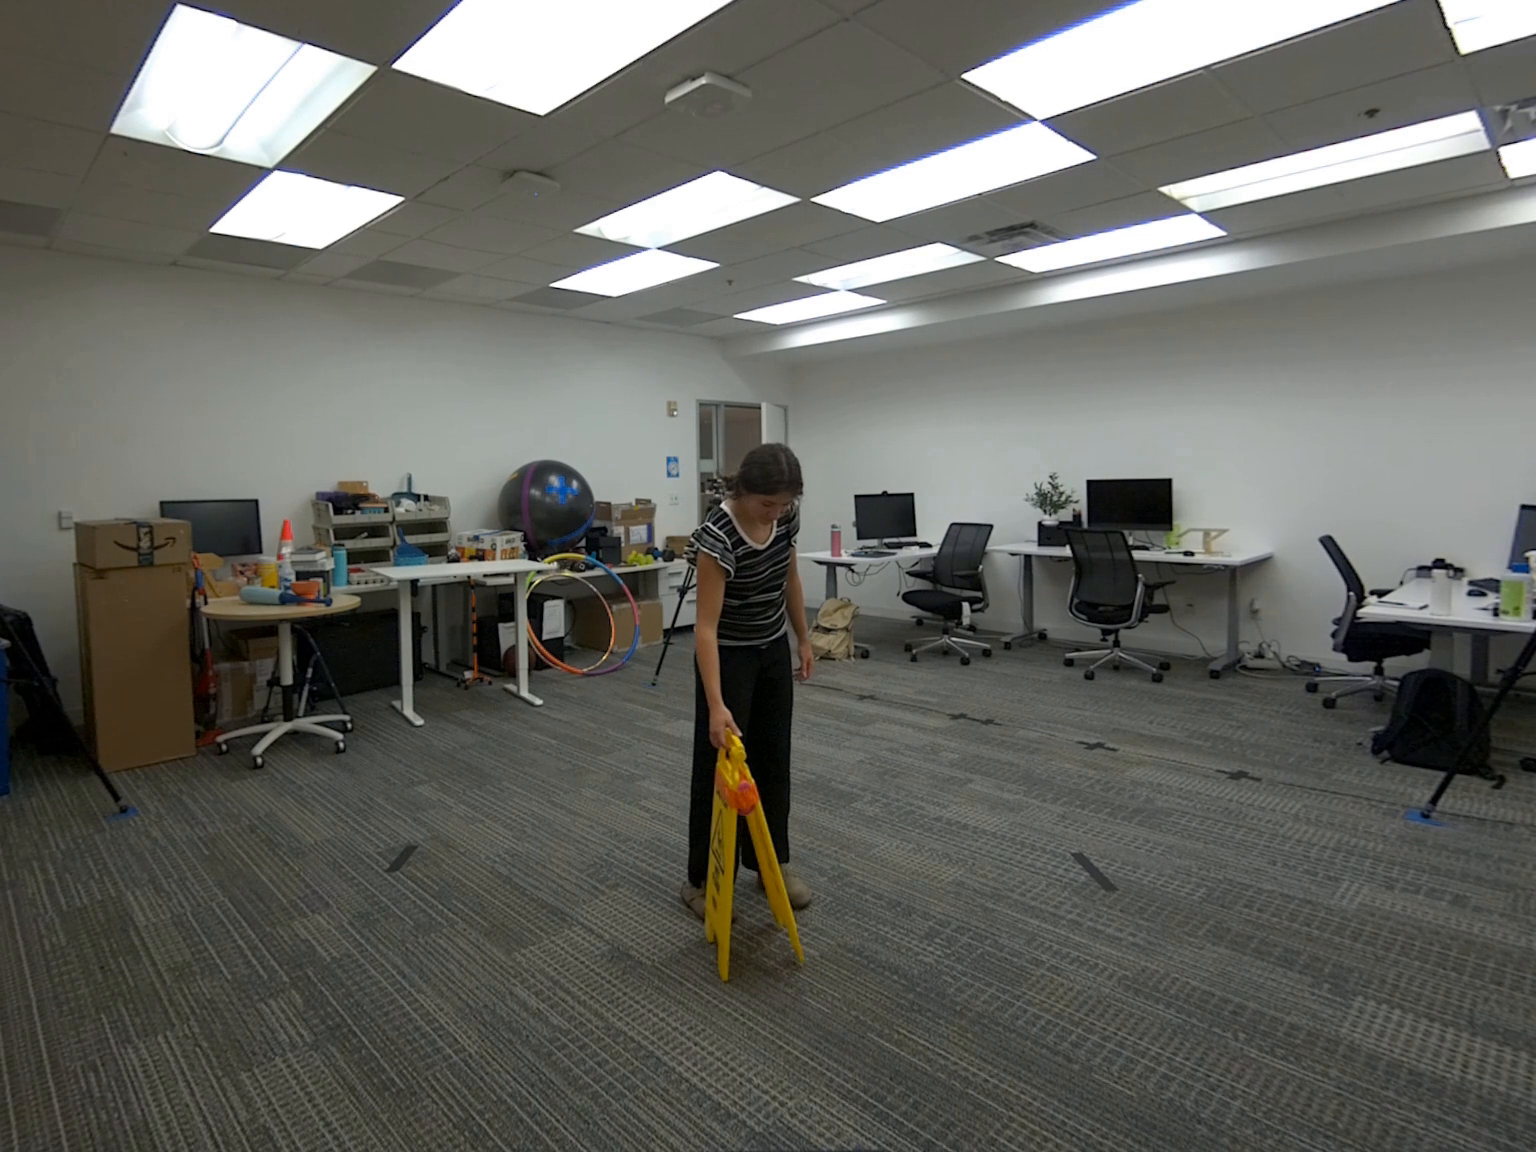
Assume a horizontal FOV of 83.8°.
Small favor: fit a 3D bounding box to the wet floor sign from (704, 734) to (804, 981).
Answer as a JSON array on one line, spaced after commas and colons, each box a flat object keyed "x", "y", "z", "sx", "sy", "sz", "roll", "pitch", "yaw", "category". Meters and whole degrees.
[{"x": -0.082, "y": 0.785, "z": 2.501, "sx": 0.287, "sy": 0.642, "sz": 0.287, "roll": -7, "pitch": 6, "yaw": -12, "category": "wet floor sign"}]
